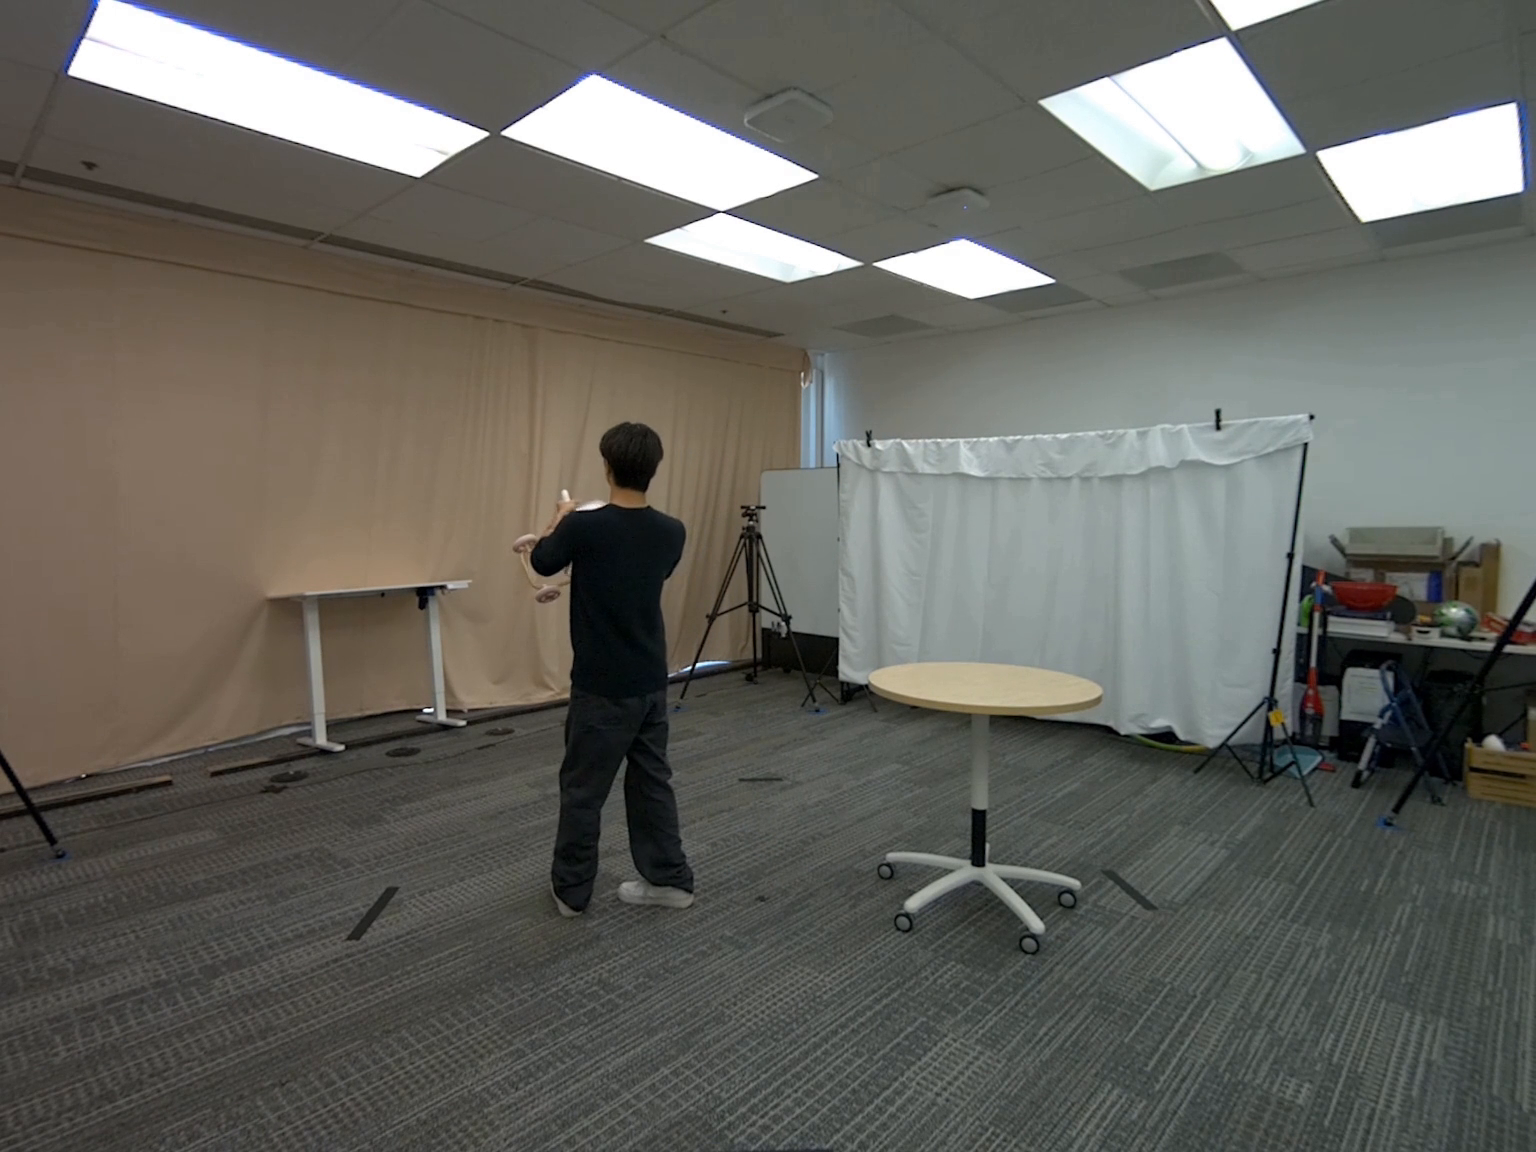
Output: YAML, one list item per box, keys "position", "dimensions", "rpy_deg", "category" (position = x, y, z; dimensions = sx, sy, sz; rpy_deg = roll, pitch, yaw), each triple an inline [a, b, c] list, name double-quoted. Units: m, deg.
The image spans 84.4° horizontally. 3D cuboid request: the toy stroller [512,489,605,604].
- position: [-0.785, -0.122, 3.422]
  dimensions: [0.331, 0.288, 0.539]
  rpy_deg: [-3, -33, -45]
  category: "toy stroller"
